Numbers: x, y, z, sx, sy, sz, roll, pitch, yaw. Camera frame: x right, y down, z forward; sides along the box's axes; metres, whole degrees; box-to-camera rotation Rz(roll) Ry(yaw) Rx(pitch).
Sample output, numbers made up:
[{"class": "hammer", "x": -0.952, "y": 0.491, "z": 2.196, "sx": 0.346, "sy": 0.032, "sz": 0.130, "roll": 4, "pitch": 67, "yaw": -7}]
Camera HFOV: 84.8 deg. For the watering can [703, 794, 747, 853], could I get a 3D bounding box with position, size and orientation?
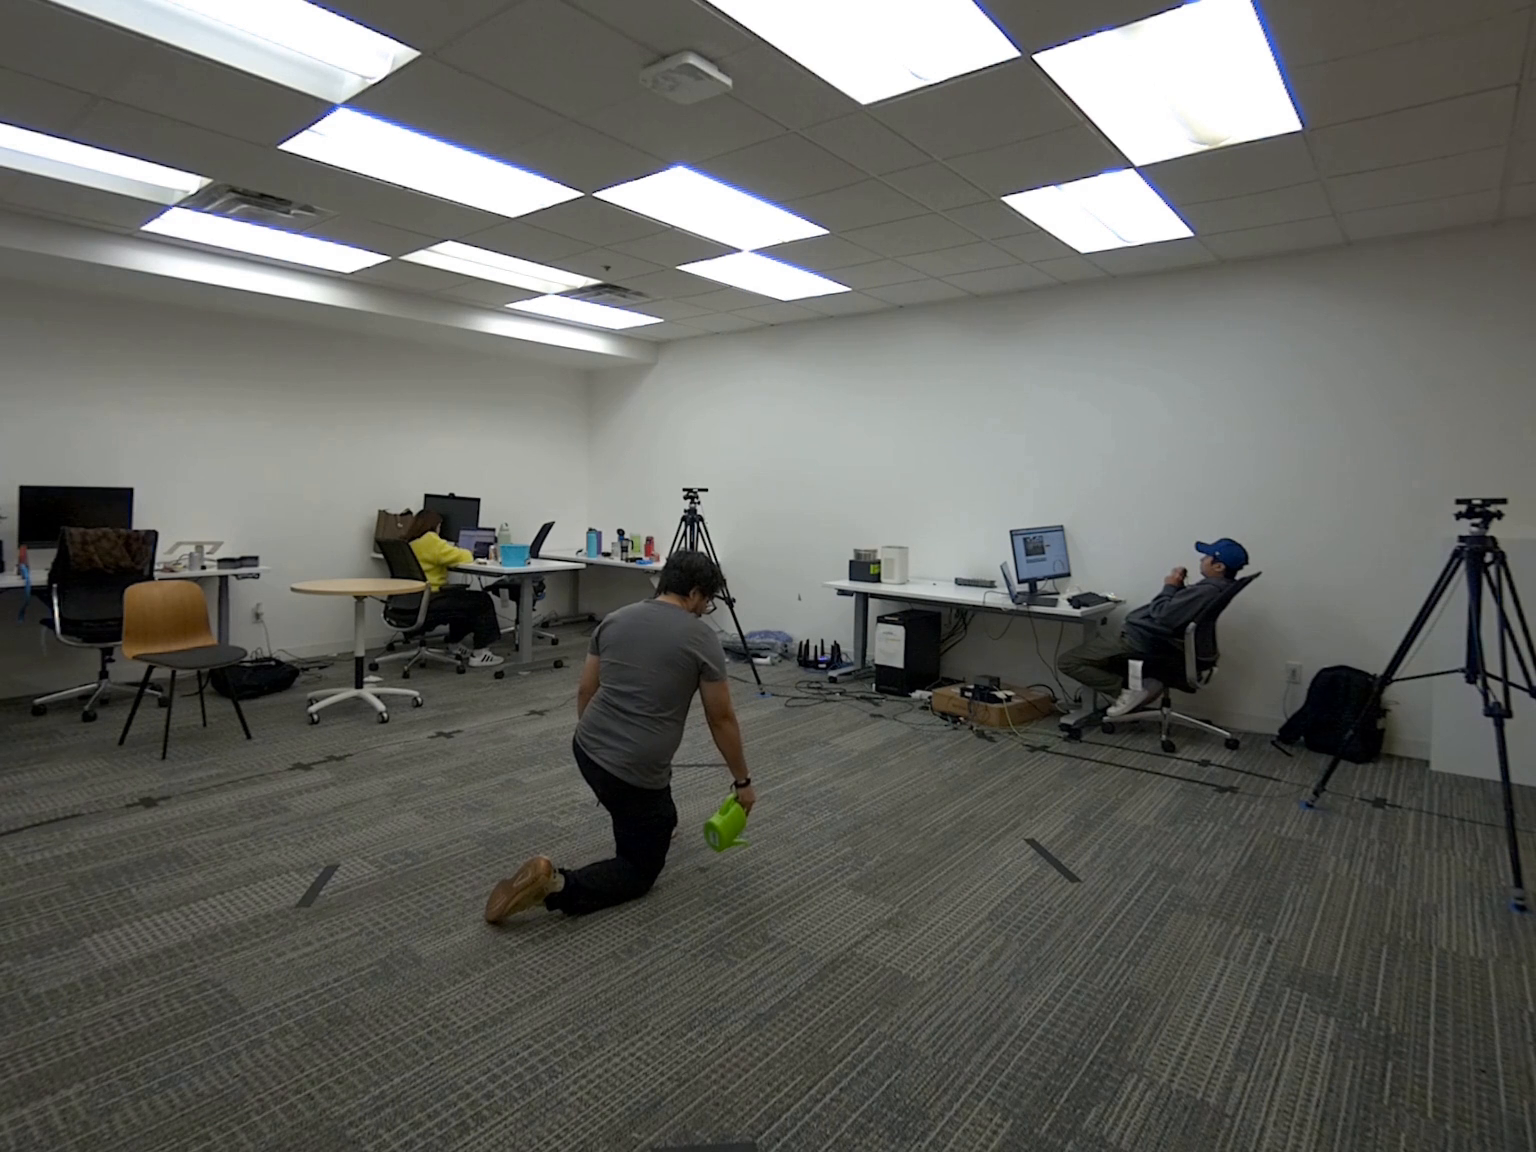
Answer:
[{"class": "watering can", "x": -0.139, "y": 0.908, "z": 2.998, "sx": 0.101, "sy": 0.273, "sz": 0.175, "roll": -2, "pitch": 21, "yaw": 40}]
